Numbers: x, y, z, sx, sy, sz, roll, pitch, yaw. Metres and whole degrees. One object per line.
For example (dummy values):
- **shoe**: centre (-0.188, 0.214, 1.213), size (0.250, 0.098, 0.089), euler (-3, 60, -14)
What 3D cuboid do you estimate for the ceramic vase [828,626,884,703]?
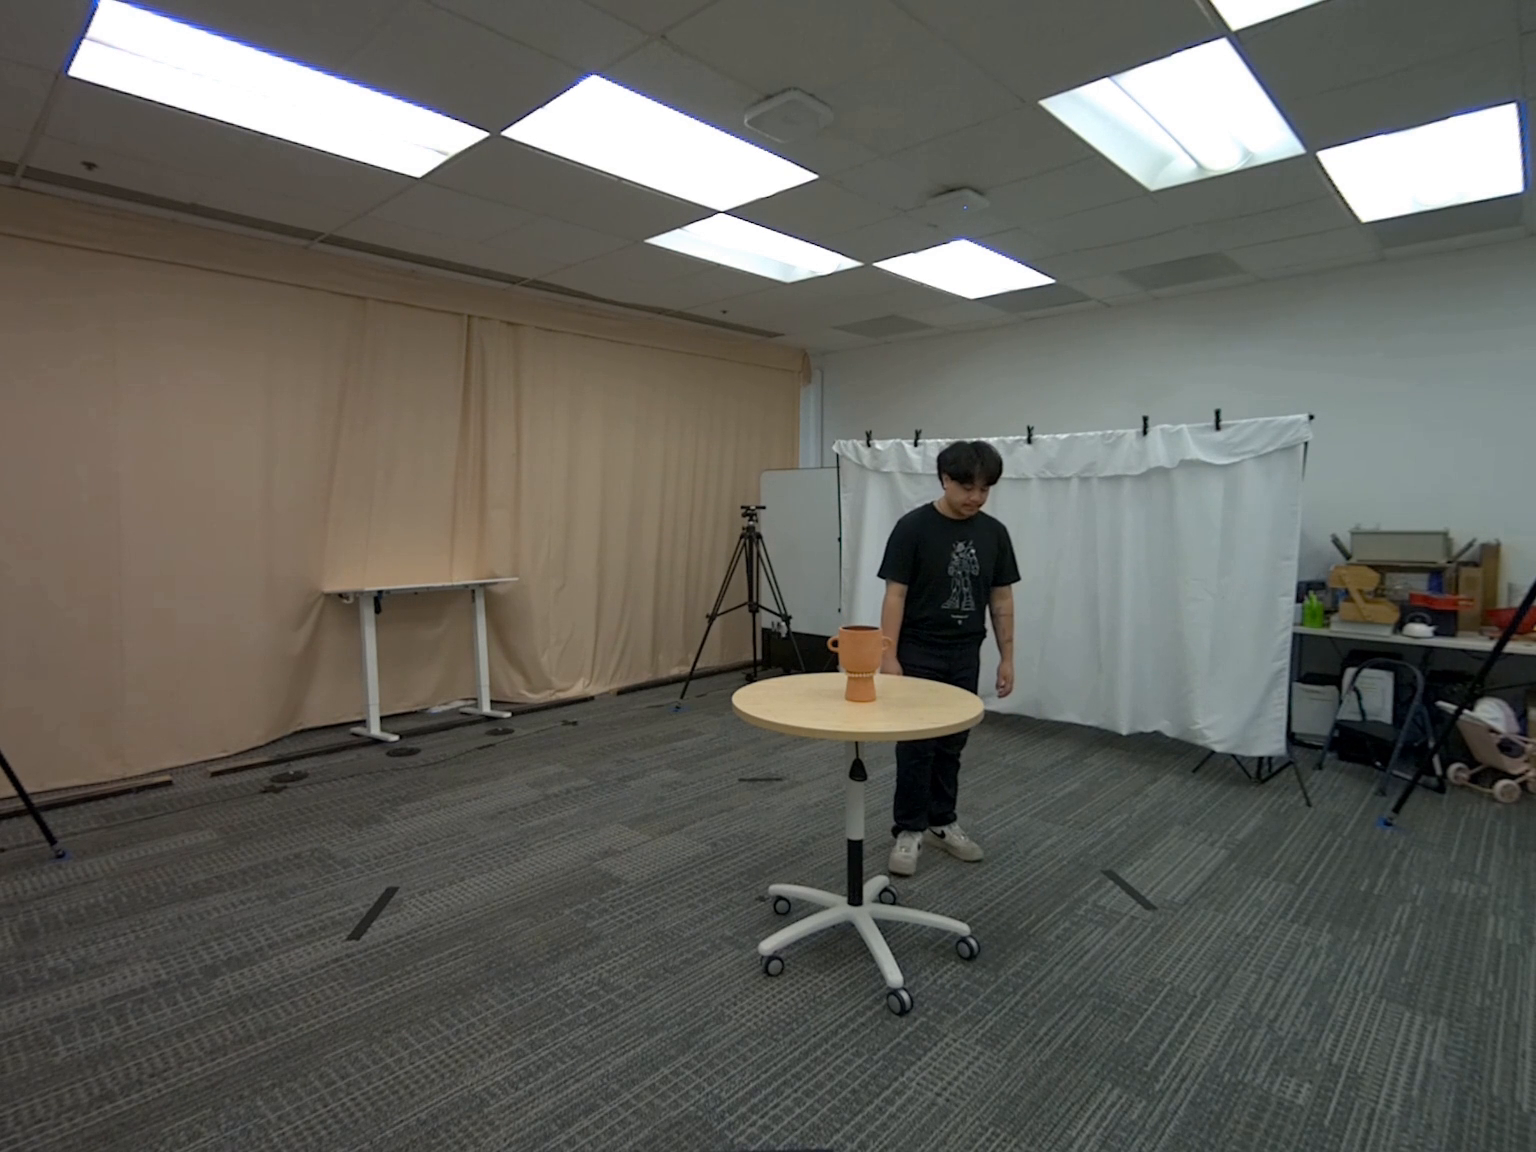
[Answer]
- **ceramic vase**: centre (0.293, 0.273, 2.598), size (0.164, 0.219, 0.130), euler (2, 4, 42)
